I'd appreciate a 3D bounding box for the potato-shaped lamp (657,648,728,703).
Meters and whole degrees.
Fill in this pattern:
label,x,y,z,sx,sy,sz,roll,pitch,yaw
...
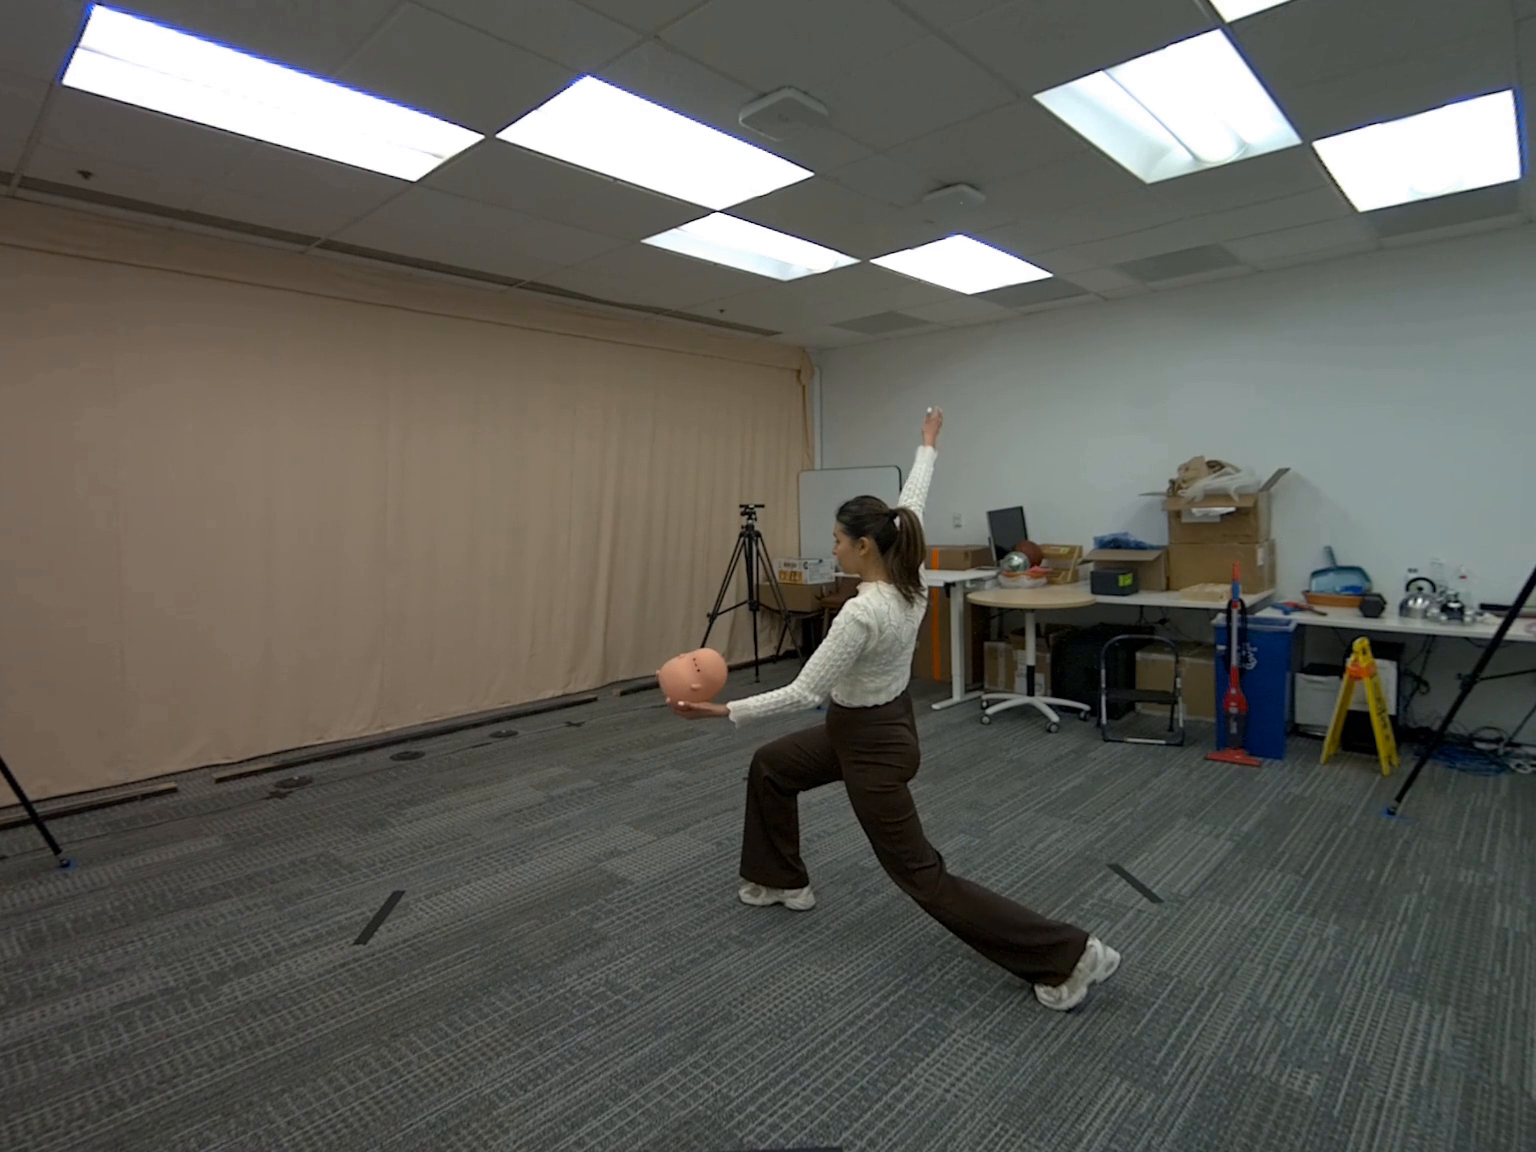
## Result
label,x,y,z,sx,sy,sz,roll,pitch,yaw
potato-shaped lamp,-0.215,0.308,2.546,0.199,0.169,0.165,-38,-36,16
